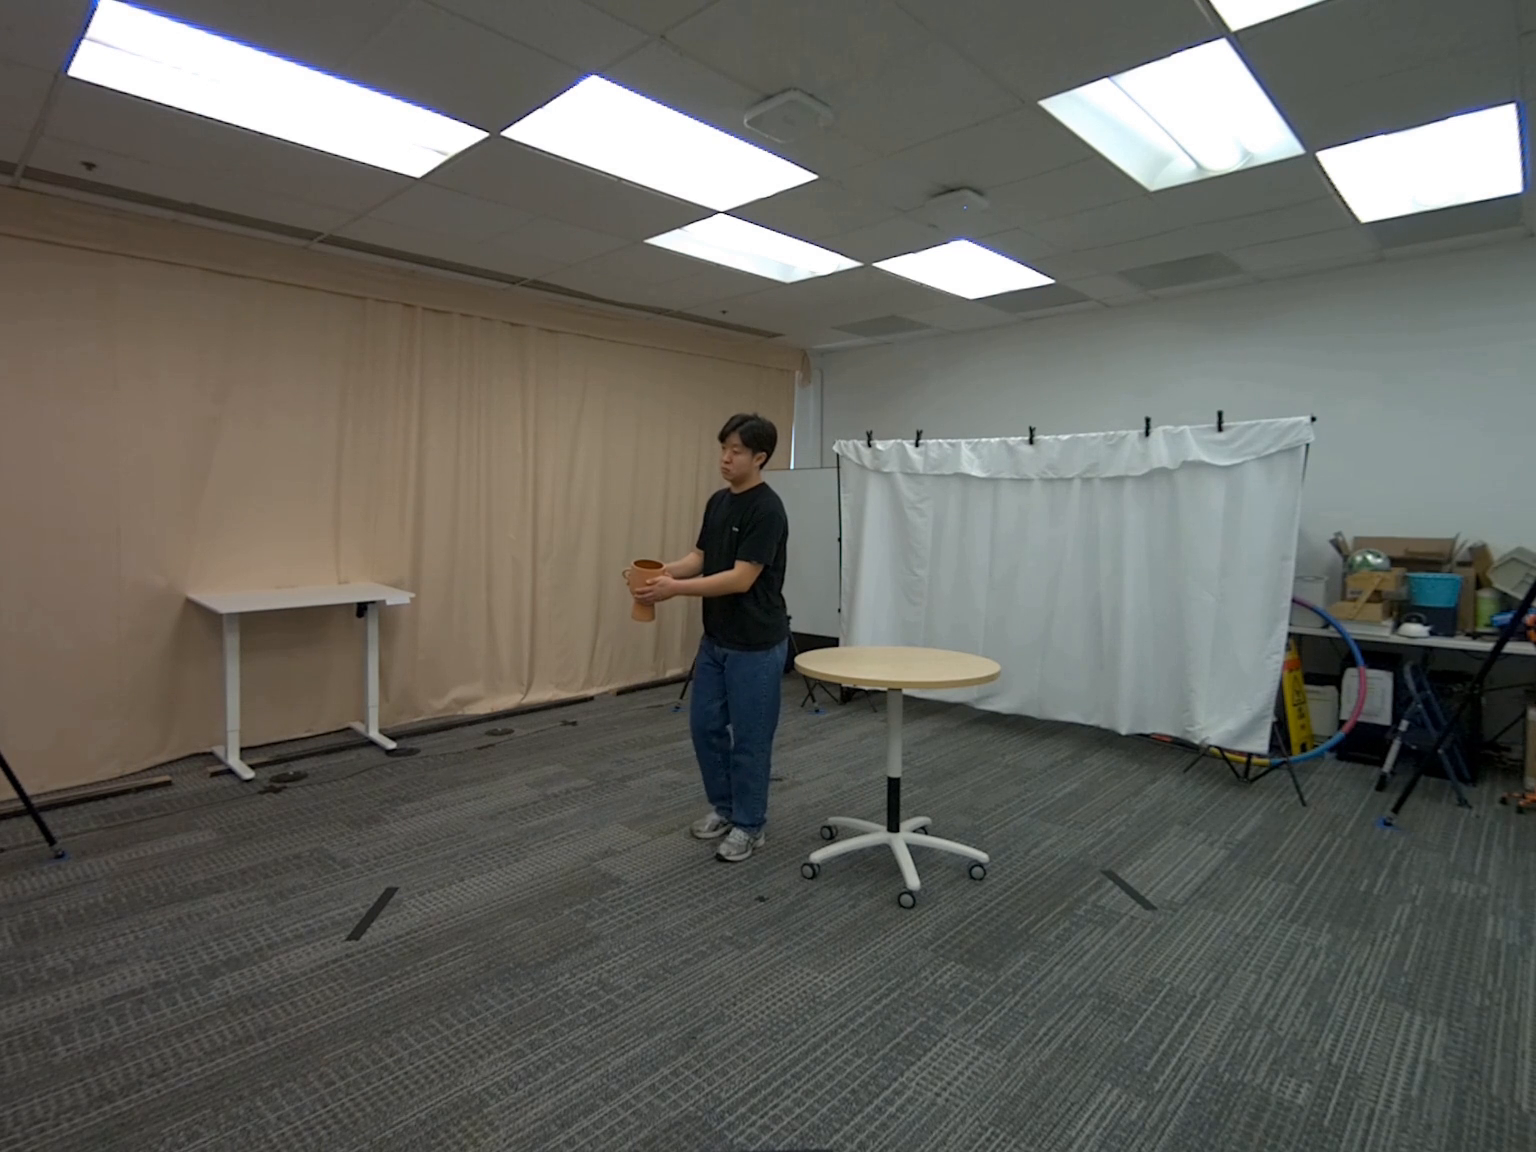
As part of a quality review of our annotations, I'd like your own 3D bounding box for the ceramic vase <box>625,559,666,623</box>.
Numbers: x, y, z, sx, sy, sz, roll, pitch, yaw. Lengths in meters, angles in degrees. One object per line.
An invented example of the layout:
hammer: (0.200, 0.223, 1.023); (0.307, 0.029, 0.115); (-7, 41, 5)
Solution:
ceramic vase: (-0.473, 0.061, 3.288); (0.164, 0.218, 0.131); (22, 22, 36)
